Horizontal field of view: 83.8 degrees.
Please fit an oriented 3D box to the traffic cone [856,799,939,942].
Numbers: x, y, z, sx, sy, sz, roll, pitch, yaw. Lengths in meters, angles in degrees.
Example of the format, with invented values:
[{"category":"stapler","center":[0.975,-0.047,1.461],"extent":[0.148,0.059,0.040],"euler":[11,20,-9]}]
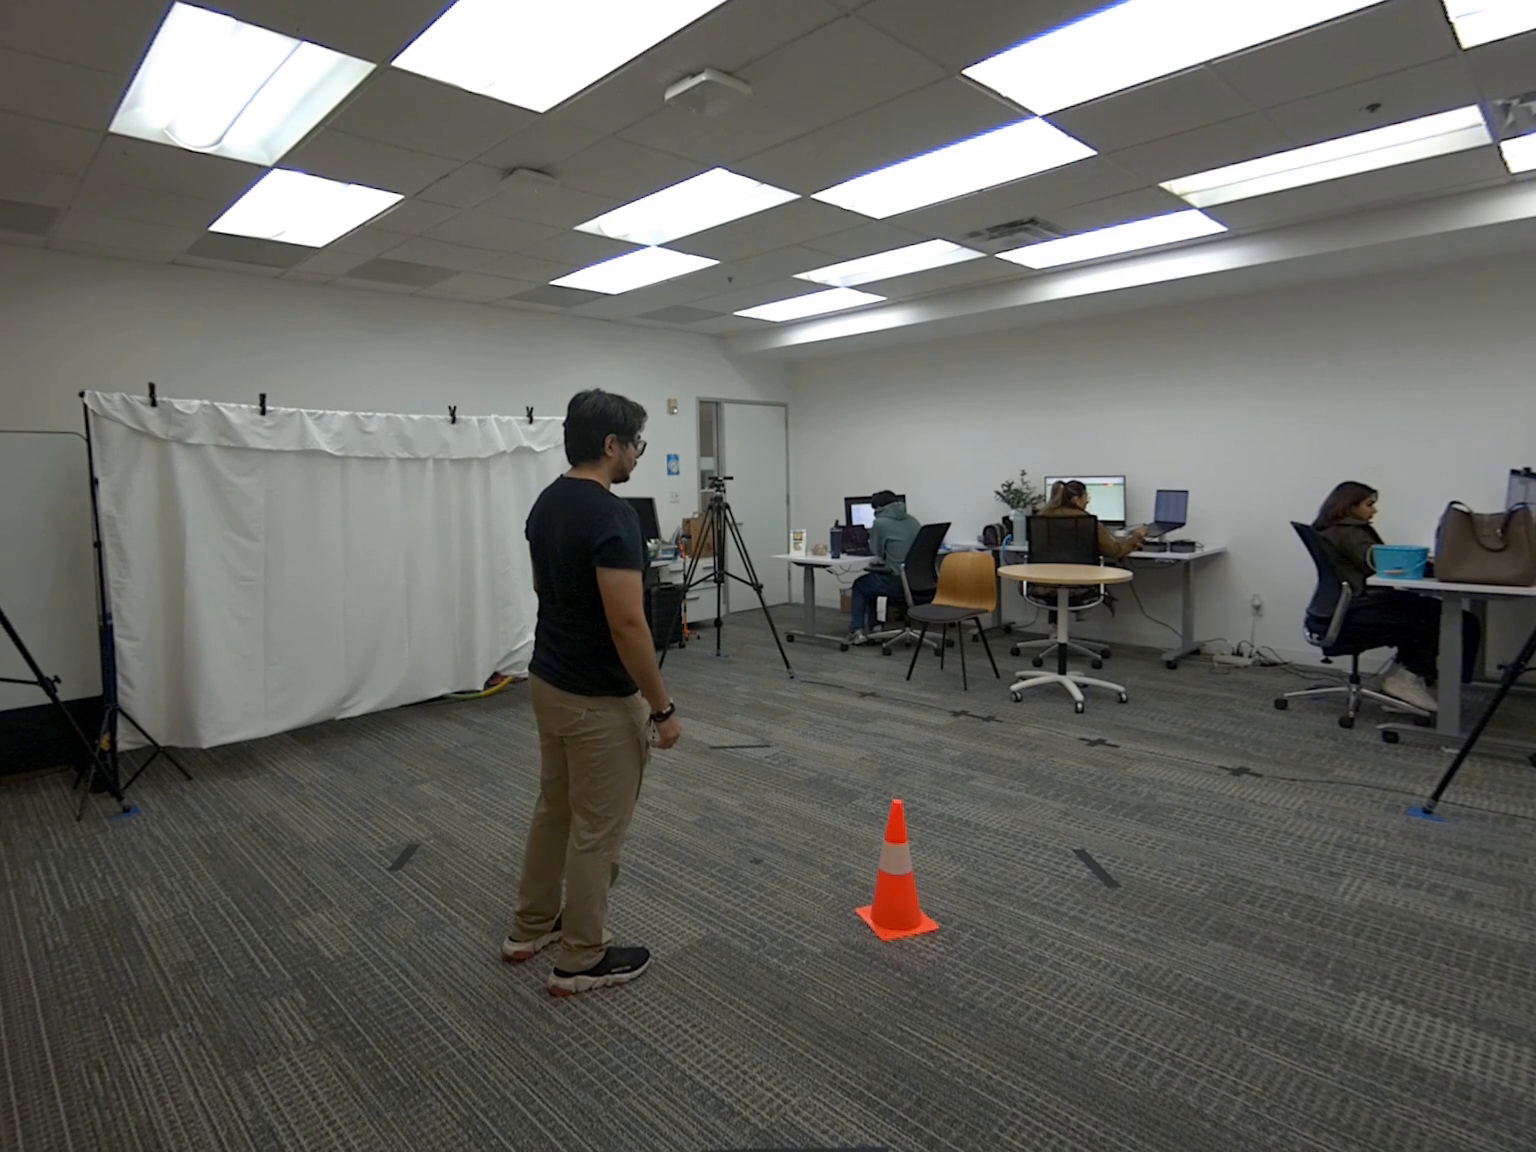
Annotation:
[{"category":"traffic cone","center":[0.408,0.892,2.676],"extent":[0.200,0.383,0.208],"euler":[-1,2,-16]}]
